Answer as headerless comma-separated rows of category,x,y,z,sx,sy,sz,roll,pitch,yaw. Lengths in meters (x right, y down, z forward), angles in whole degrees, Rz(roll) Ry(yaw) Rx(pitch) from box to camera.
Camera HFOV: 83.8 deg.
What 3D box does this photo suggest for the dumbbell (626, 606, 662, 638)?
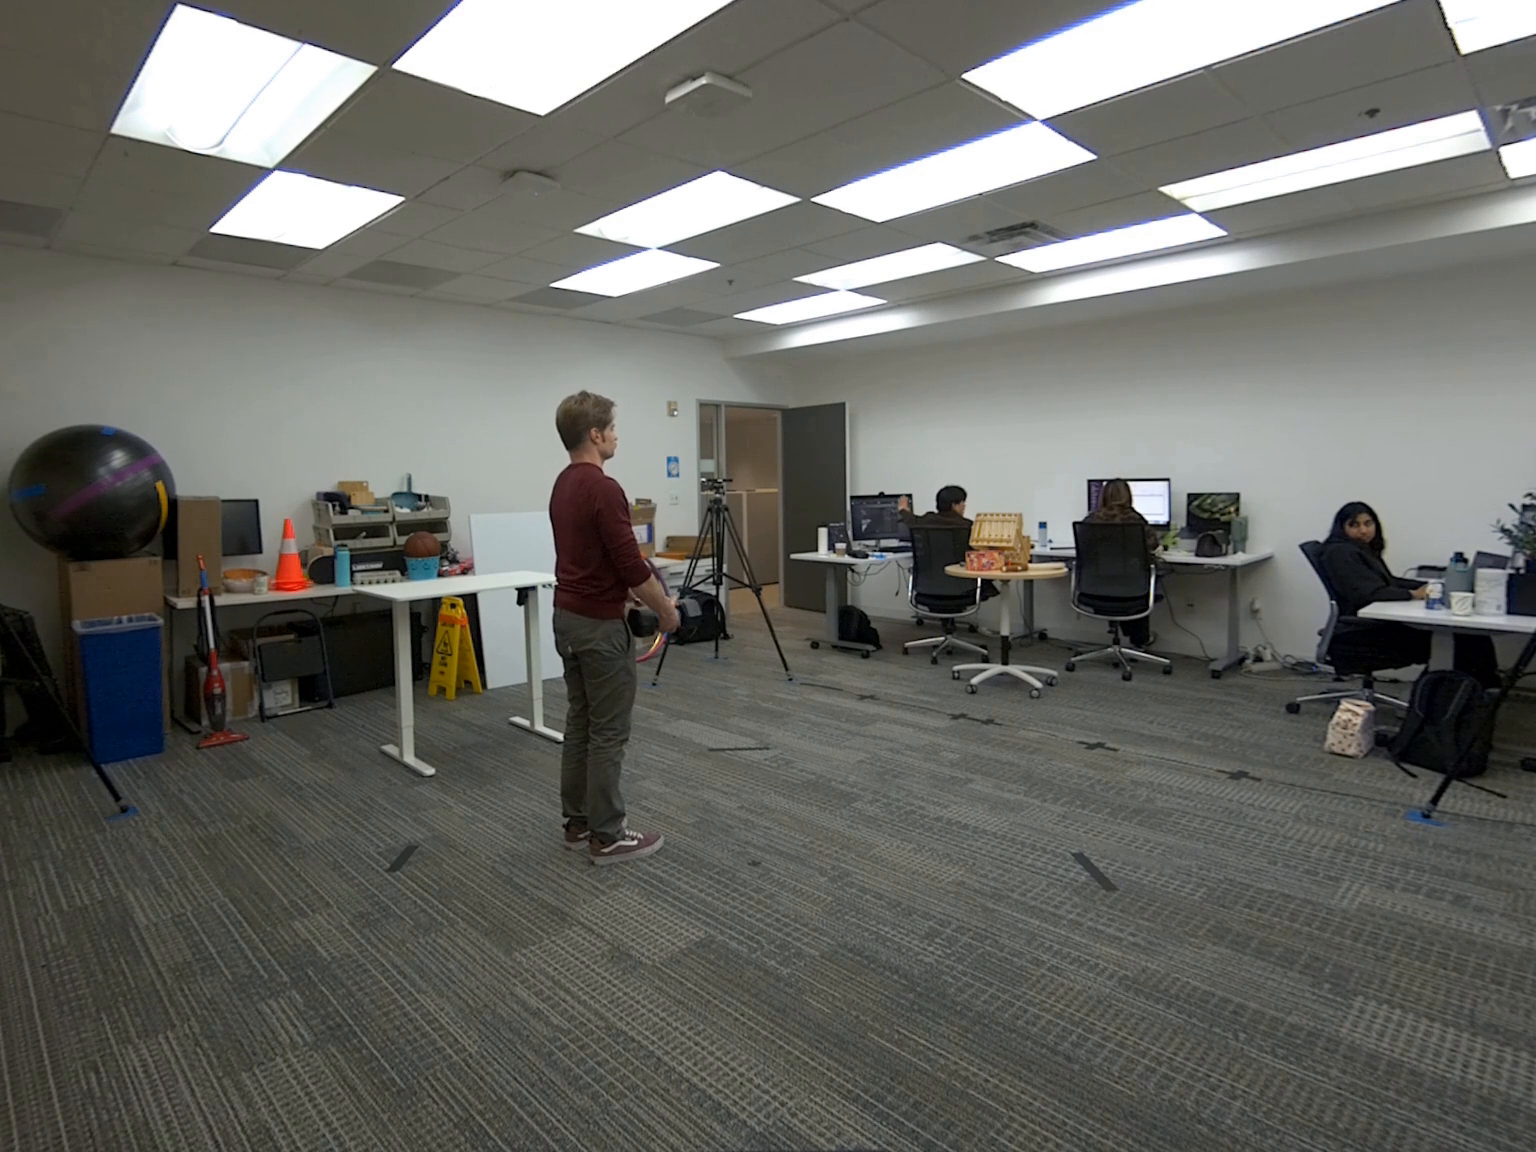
dumbbell,-0.396,0.159,3.294,0.286,0.121,0.113,-9,37,-40
